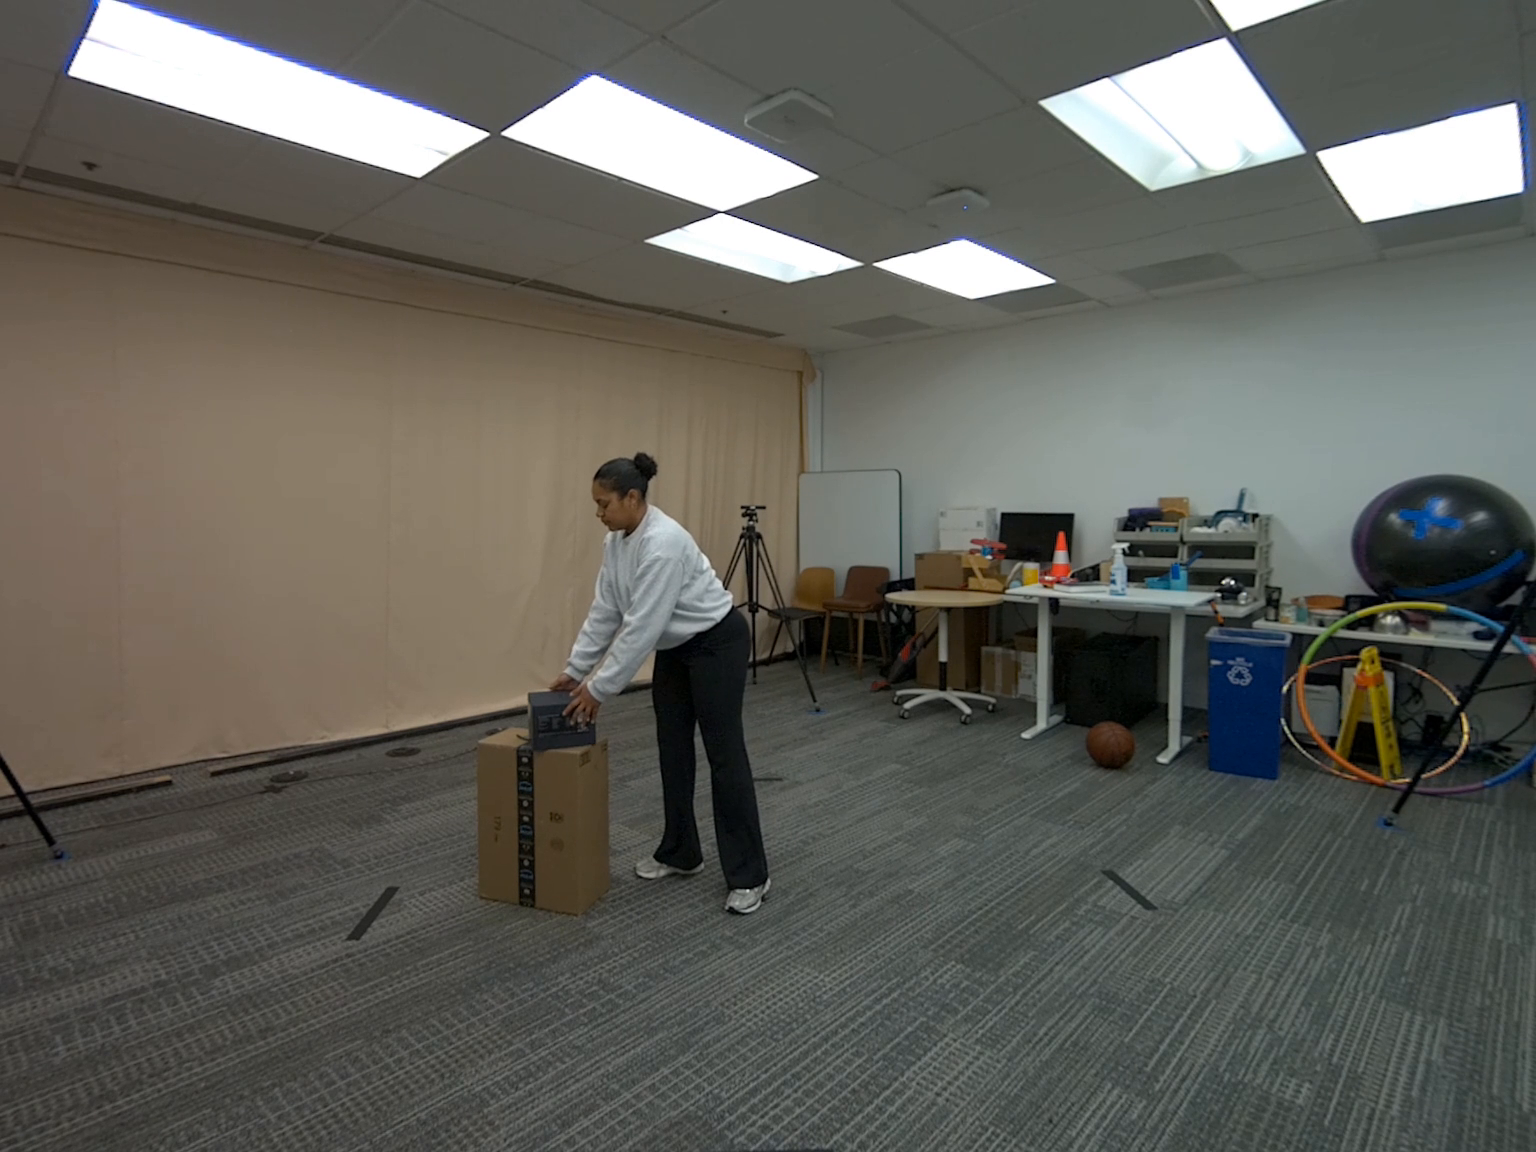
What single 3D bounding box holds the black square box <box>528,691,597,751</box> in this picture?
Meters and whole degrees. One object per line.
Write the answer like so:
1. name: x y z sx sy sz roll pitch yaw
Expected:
1. black square box: -0.741 0.504 2.997 0.213 0.155 0.233 -3 5 -19
